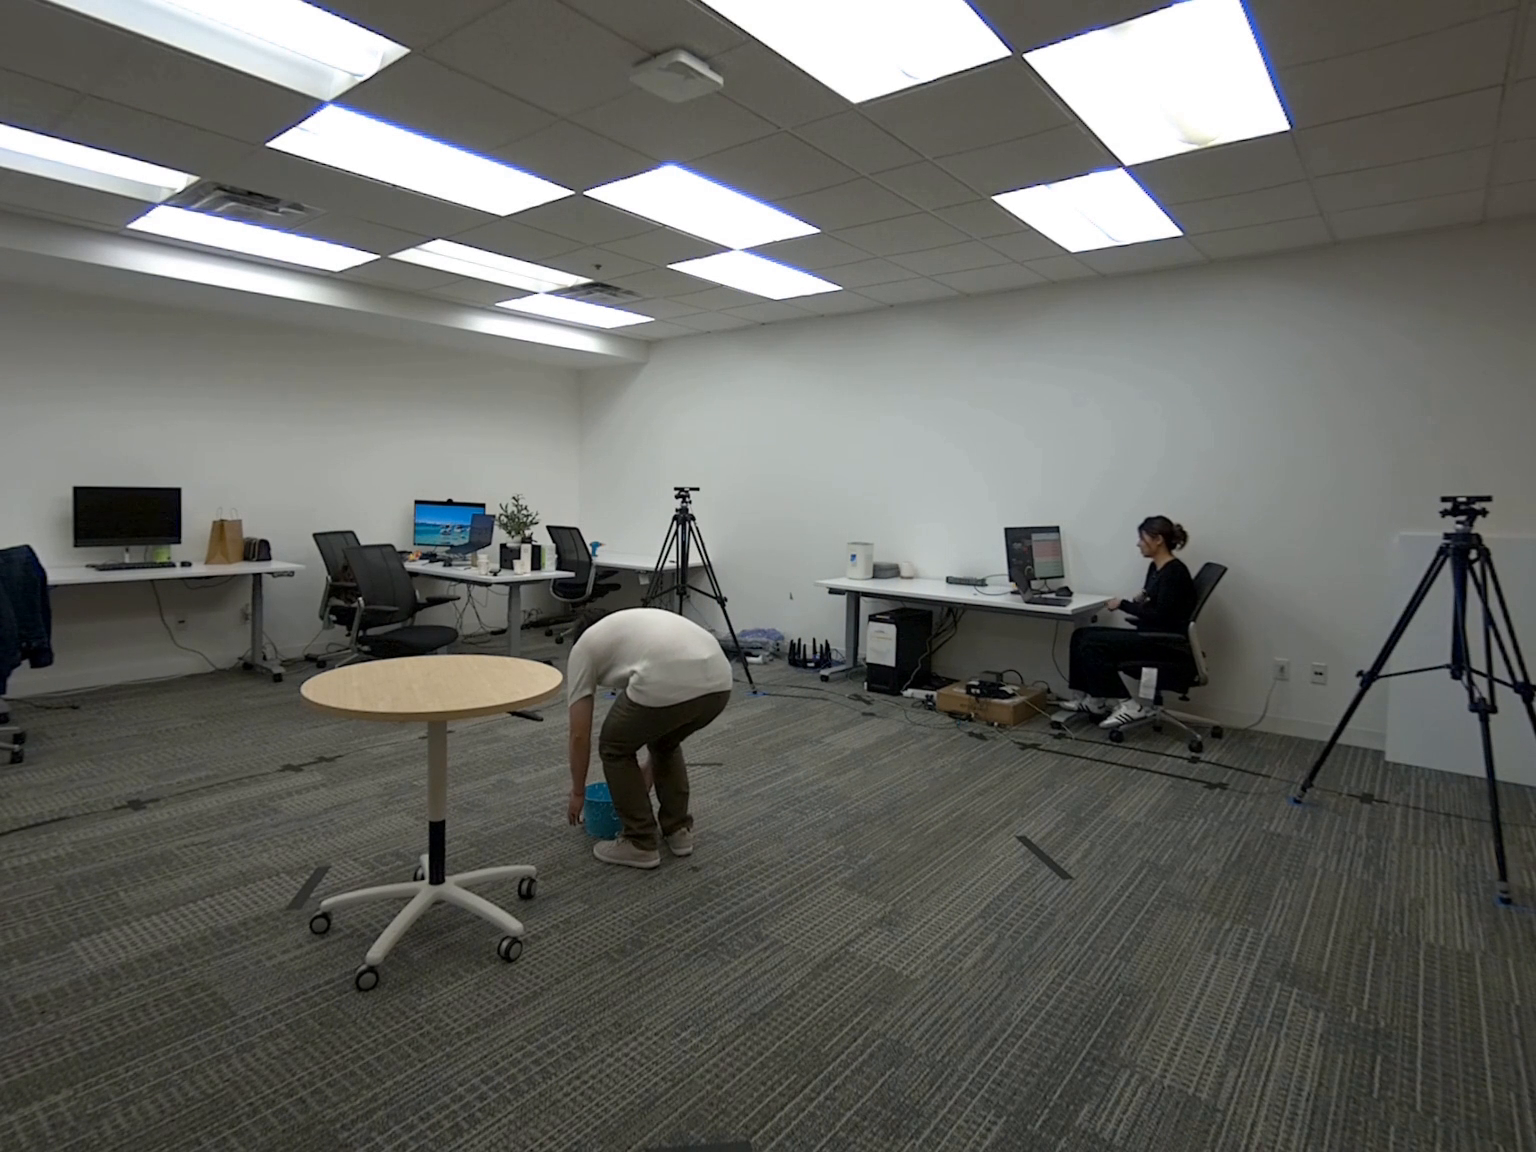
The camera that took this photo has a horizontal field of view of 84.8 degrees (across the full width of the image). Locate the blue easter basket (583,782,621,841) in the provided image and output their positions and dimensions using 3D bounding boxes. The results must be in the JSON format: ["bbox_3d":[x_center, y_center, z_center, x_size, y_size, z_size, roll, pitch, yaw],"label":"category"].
[{"bbox_3d":[-0.669,0.944,3.468,0.243,0.155,0.245,3,4,-2],"label":"blue easter basket"}]
